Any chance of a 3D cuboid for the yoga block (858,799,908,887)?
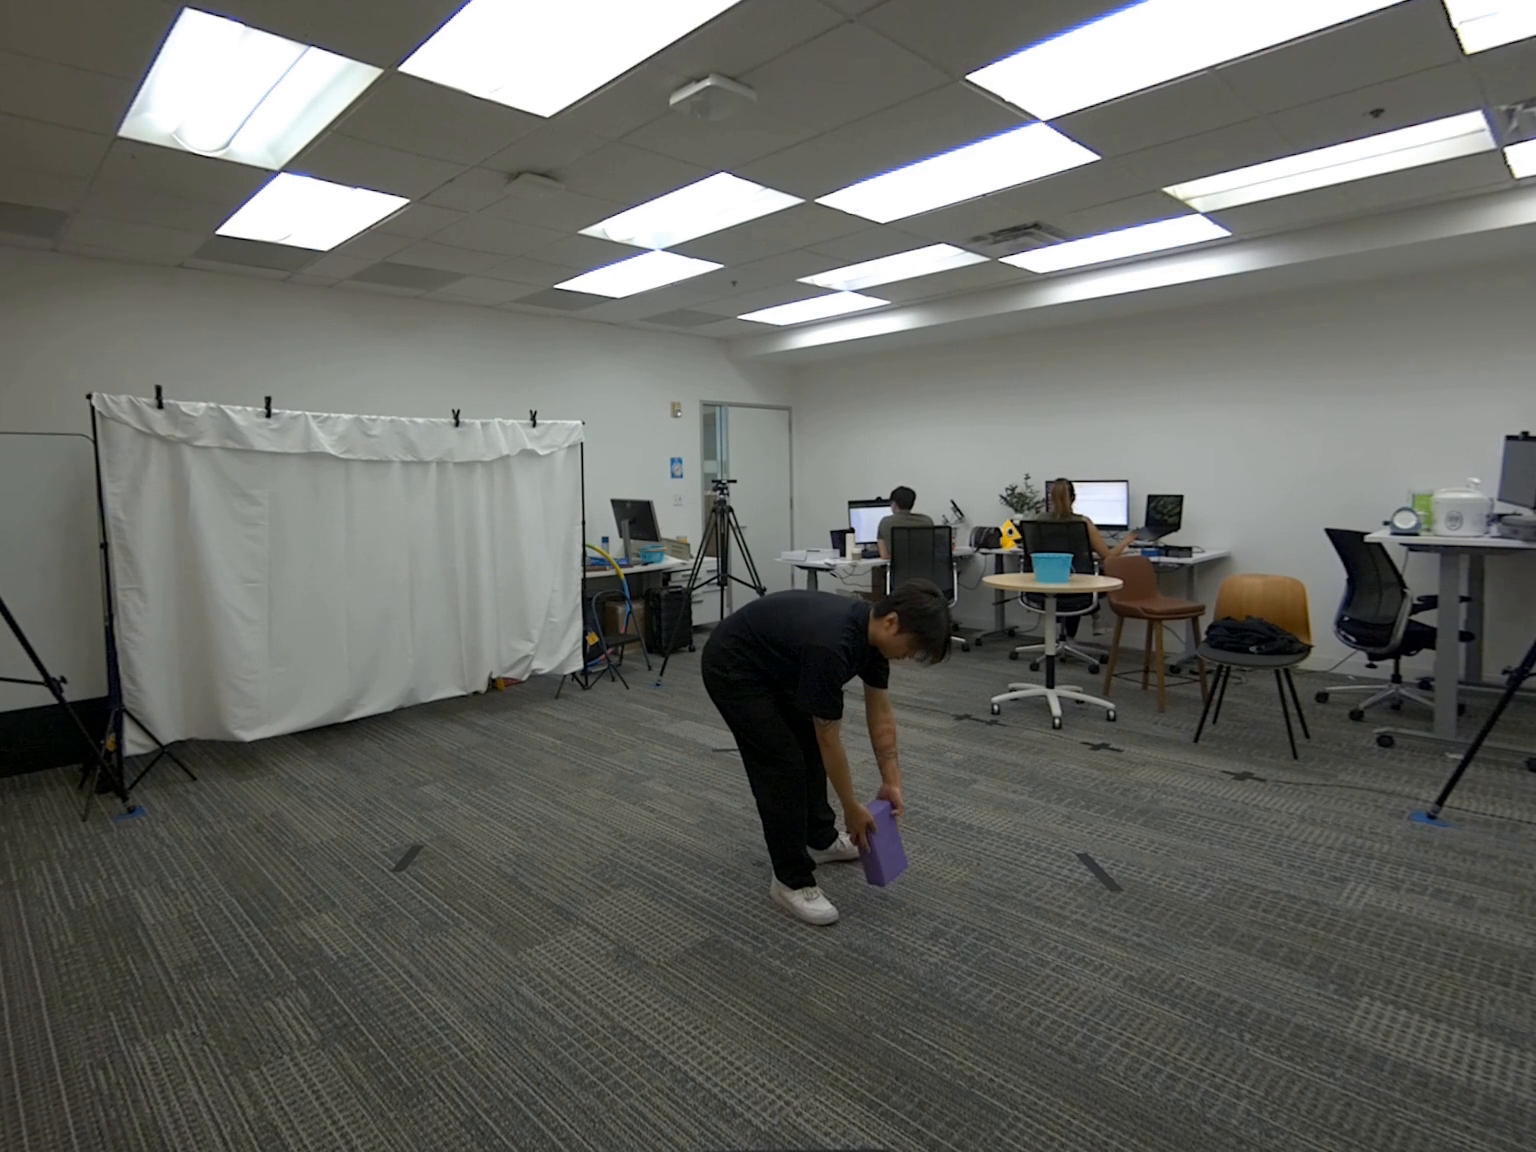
[{"bbox_3d":[0.371,0.863,2.783,0.078,0.229,0.146,-12,3,44],"label":"yoga block"}]
